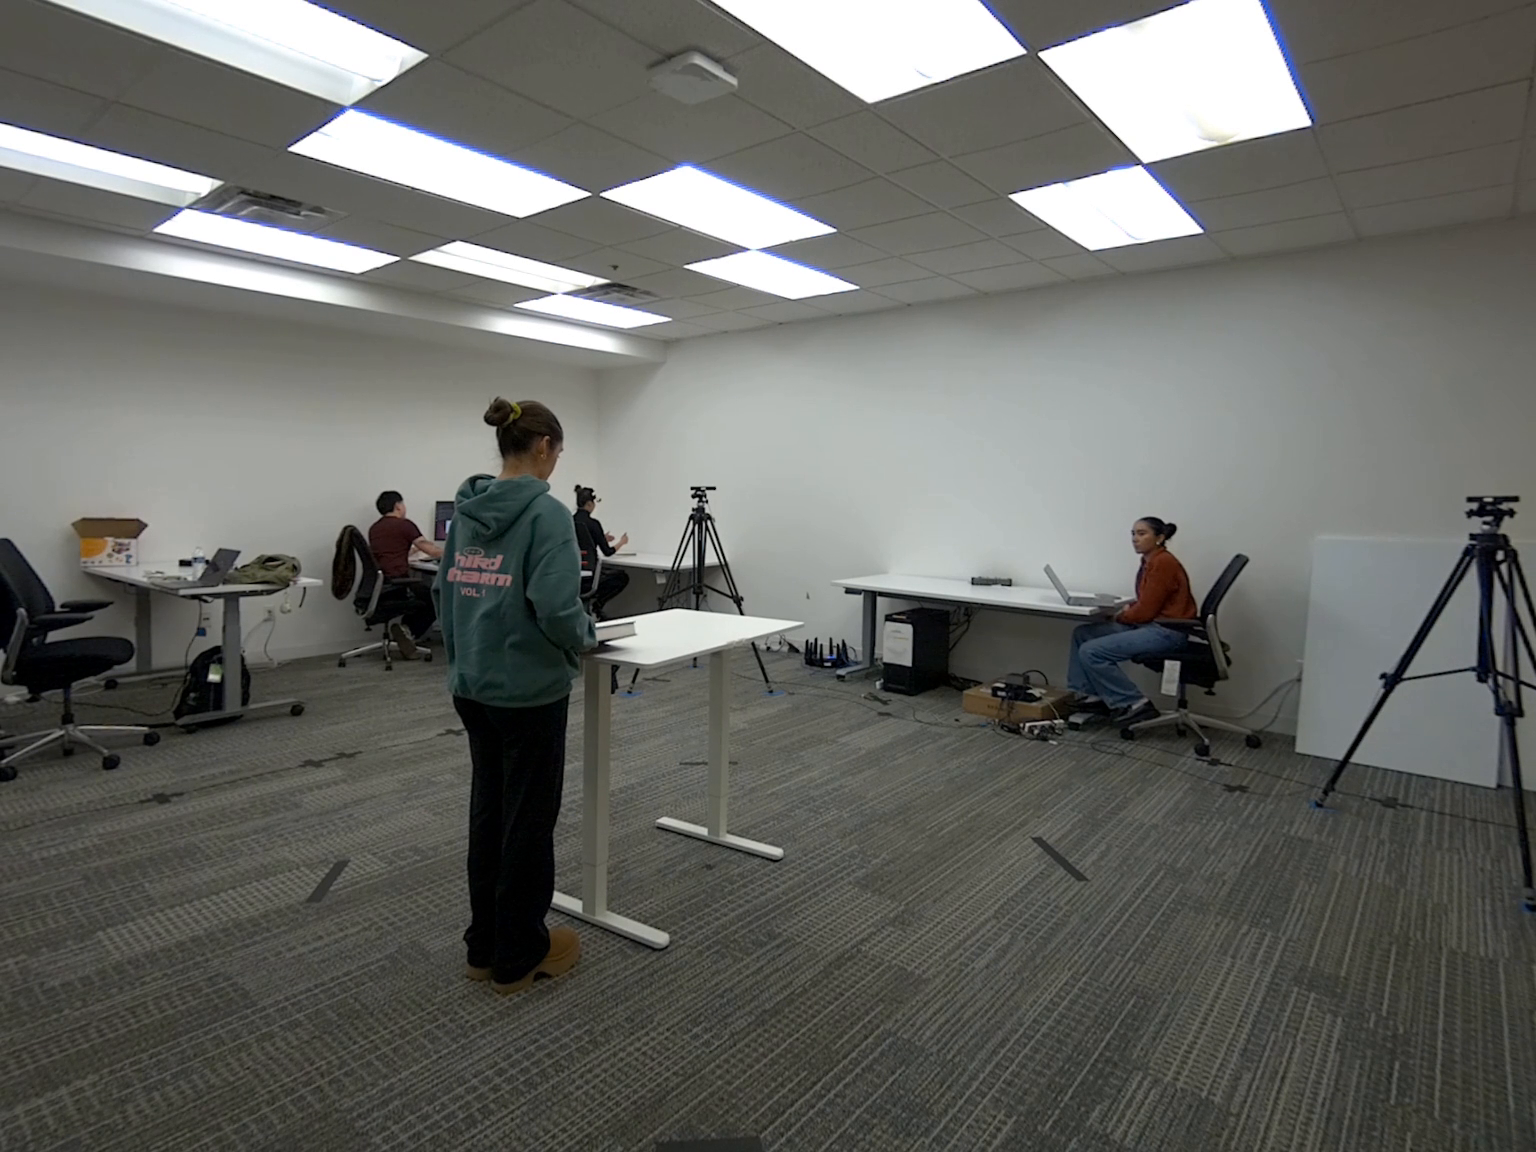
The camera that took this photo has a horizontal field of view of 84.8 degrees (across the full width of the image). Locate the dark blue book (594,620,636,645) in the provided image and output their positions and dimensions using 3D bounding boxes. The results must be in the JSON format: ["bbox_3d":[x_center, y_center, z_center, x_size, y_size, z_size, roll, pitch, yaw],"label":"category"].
[{"bbox_3d":[-0.554,0.185,2.606,0.167,0.045,0.238,-14,-5,39],"label":"dark blue book"}]
